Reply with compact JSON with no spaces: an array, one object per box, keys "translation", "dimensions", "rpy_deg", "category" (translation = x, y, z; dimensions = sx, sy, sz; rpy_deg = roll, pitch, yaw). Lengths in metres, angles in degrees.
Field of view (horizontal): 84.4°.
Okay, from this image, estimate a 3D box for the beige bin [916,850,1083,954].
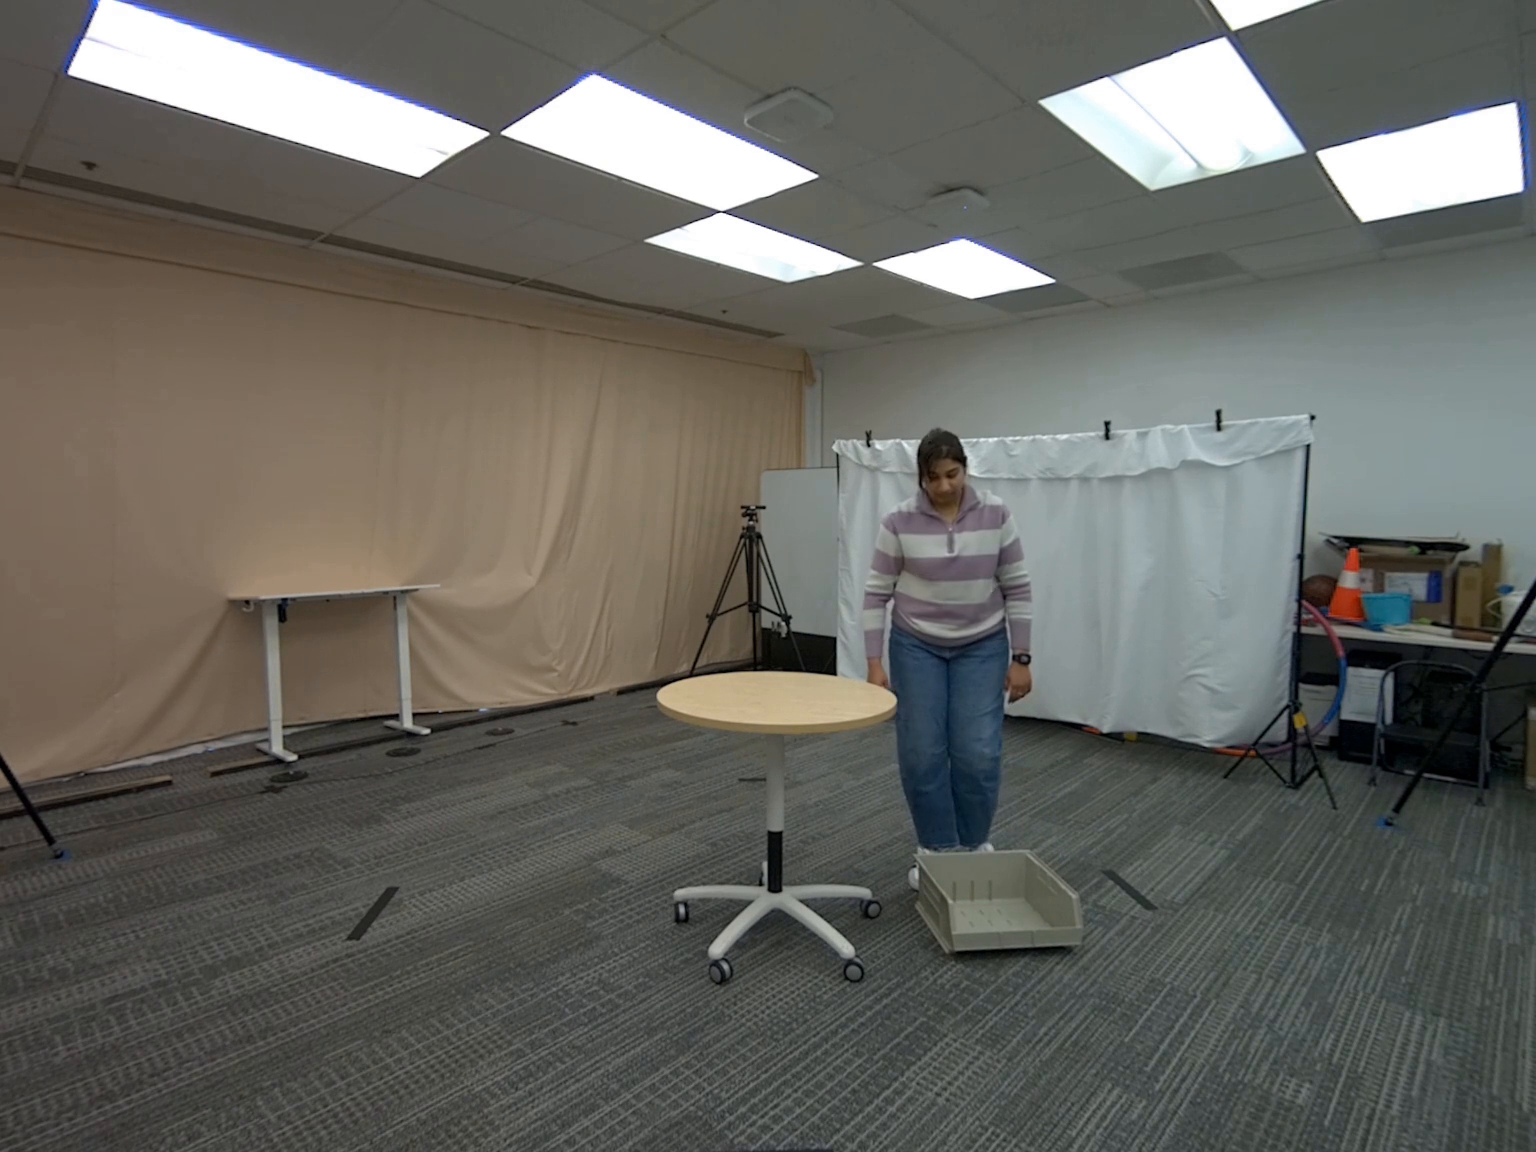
[{"translation":[0.740,1.070,2.757],"dimensions":[0.420,0.188,0.380],"rpy_deg":[-1,4,-6],"category":"beige bin"}]
